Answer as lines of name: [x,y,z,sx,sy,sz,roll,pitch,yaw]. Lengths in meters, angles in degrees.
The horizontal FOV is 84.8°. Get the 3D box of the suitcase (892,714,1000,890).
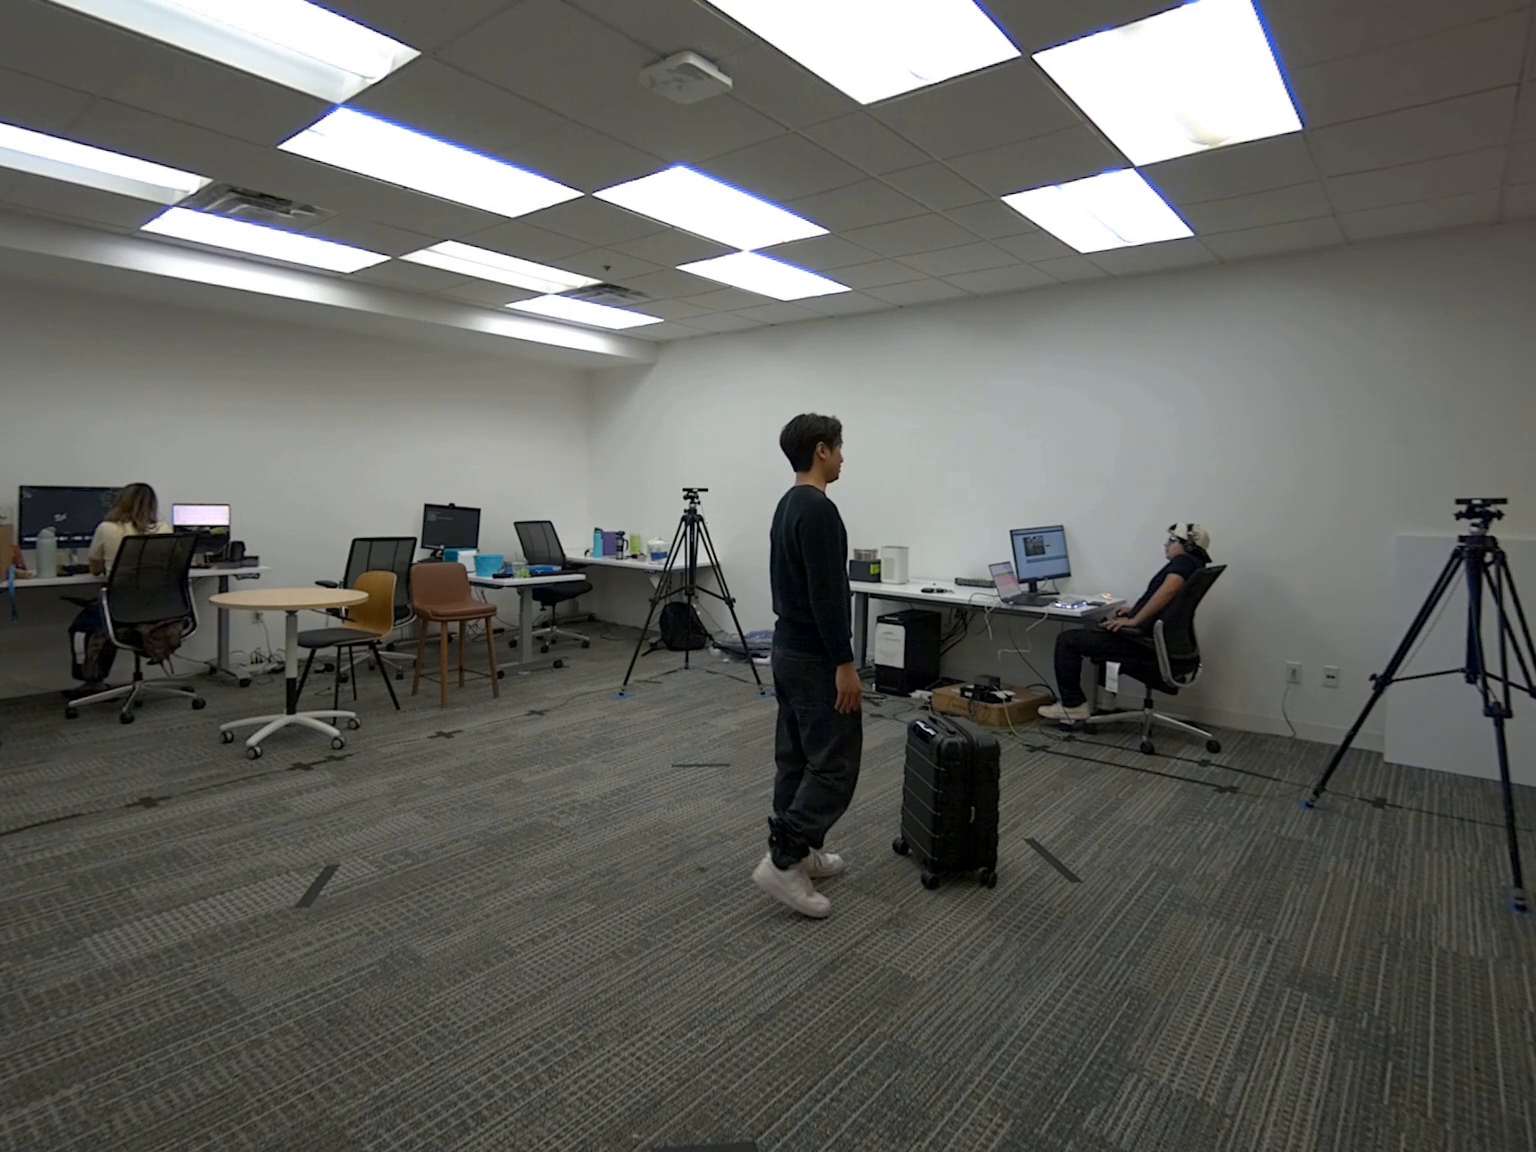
suitcase: [0.668,0.808,3.169,0.246,0.548,0.380,3,3,-10]
